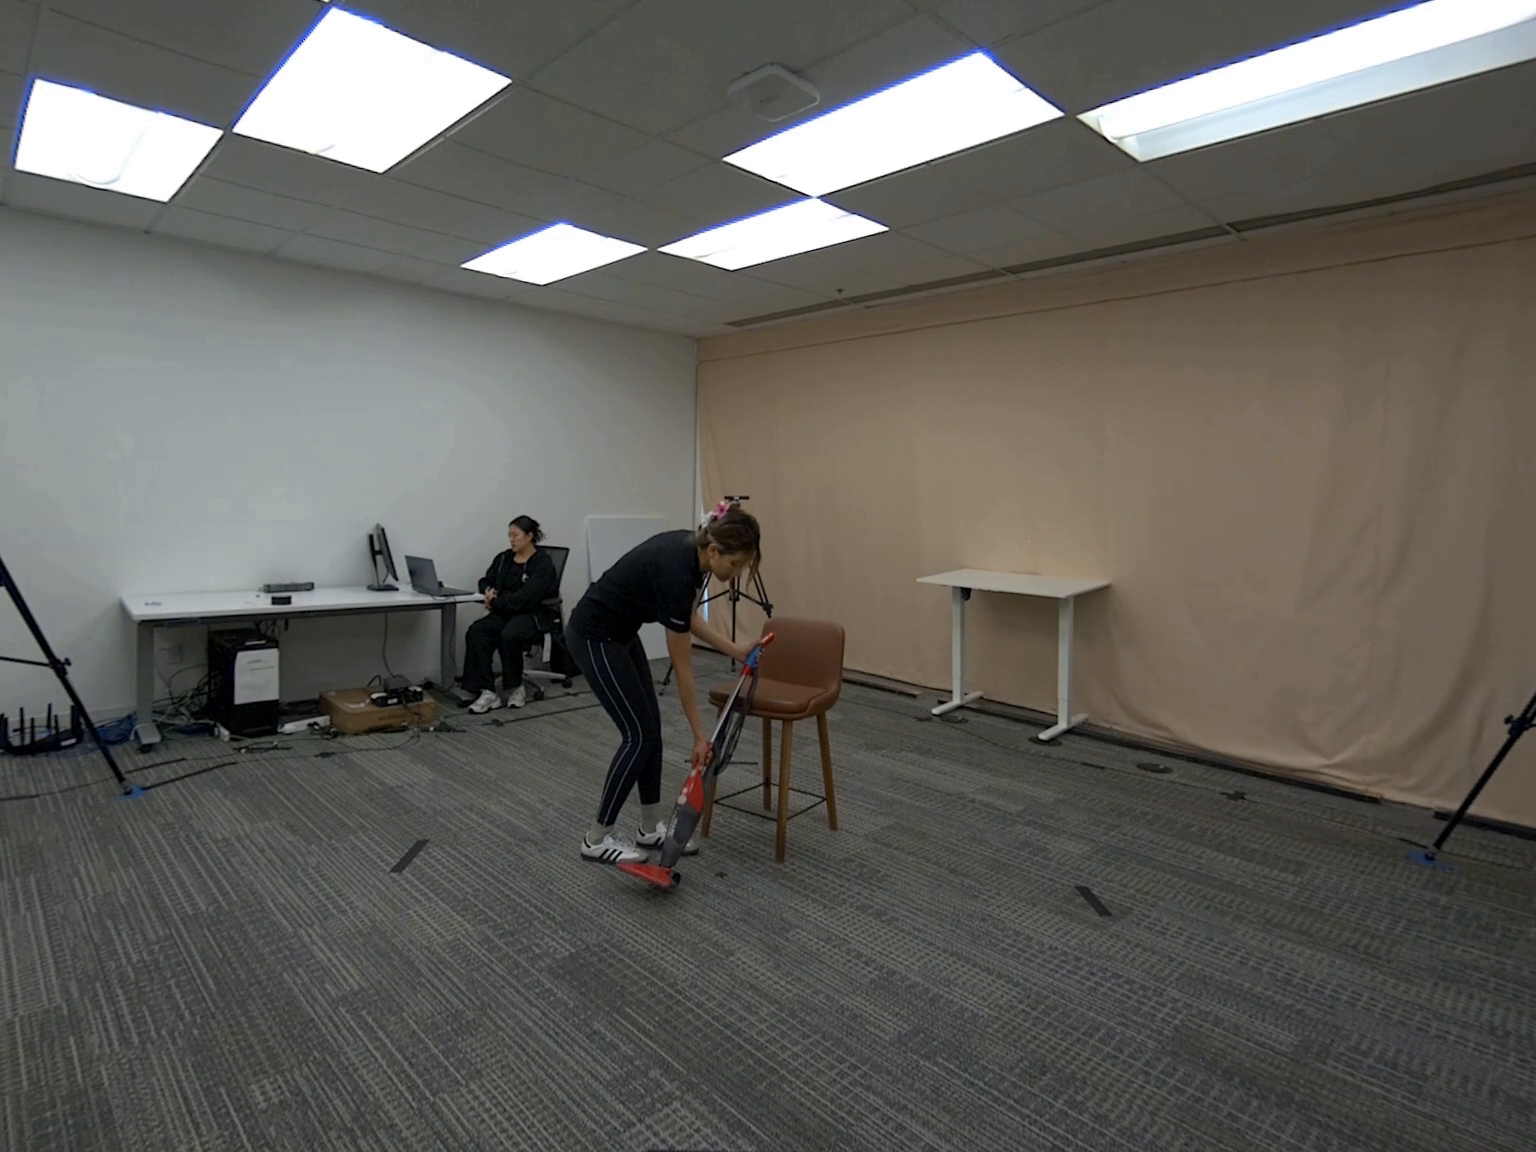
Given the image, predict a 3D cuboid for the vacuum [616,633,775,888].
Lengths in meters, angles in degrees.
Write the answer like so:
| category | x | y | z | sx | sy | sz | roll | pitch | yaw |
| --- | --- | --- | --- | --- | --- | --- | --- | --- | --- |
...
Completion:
| category | x | y | z | sx | sy | sz | roll | pitch | yaw |
| --- | --- | --- | --- | --- | --- | --- | --- | --- | --- |
| vacuum | -0.199 | 0.649 | 3.170 | 0.259 | 1.057 | 0.139 | 3 | -37 | 36 |
